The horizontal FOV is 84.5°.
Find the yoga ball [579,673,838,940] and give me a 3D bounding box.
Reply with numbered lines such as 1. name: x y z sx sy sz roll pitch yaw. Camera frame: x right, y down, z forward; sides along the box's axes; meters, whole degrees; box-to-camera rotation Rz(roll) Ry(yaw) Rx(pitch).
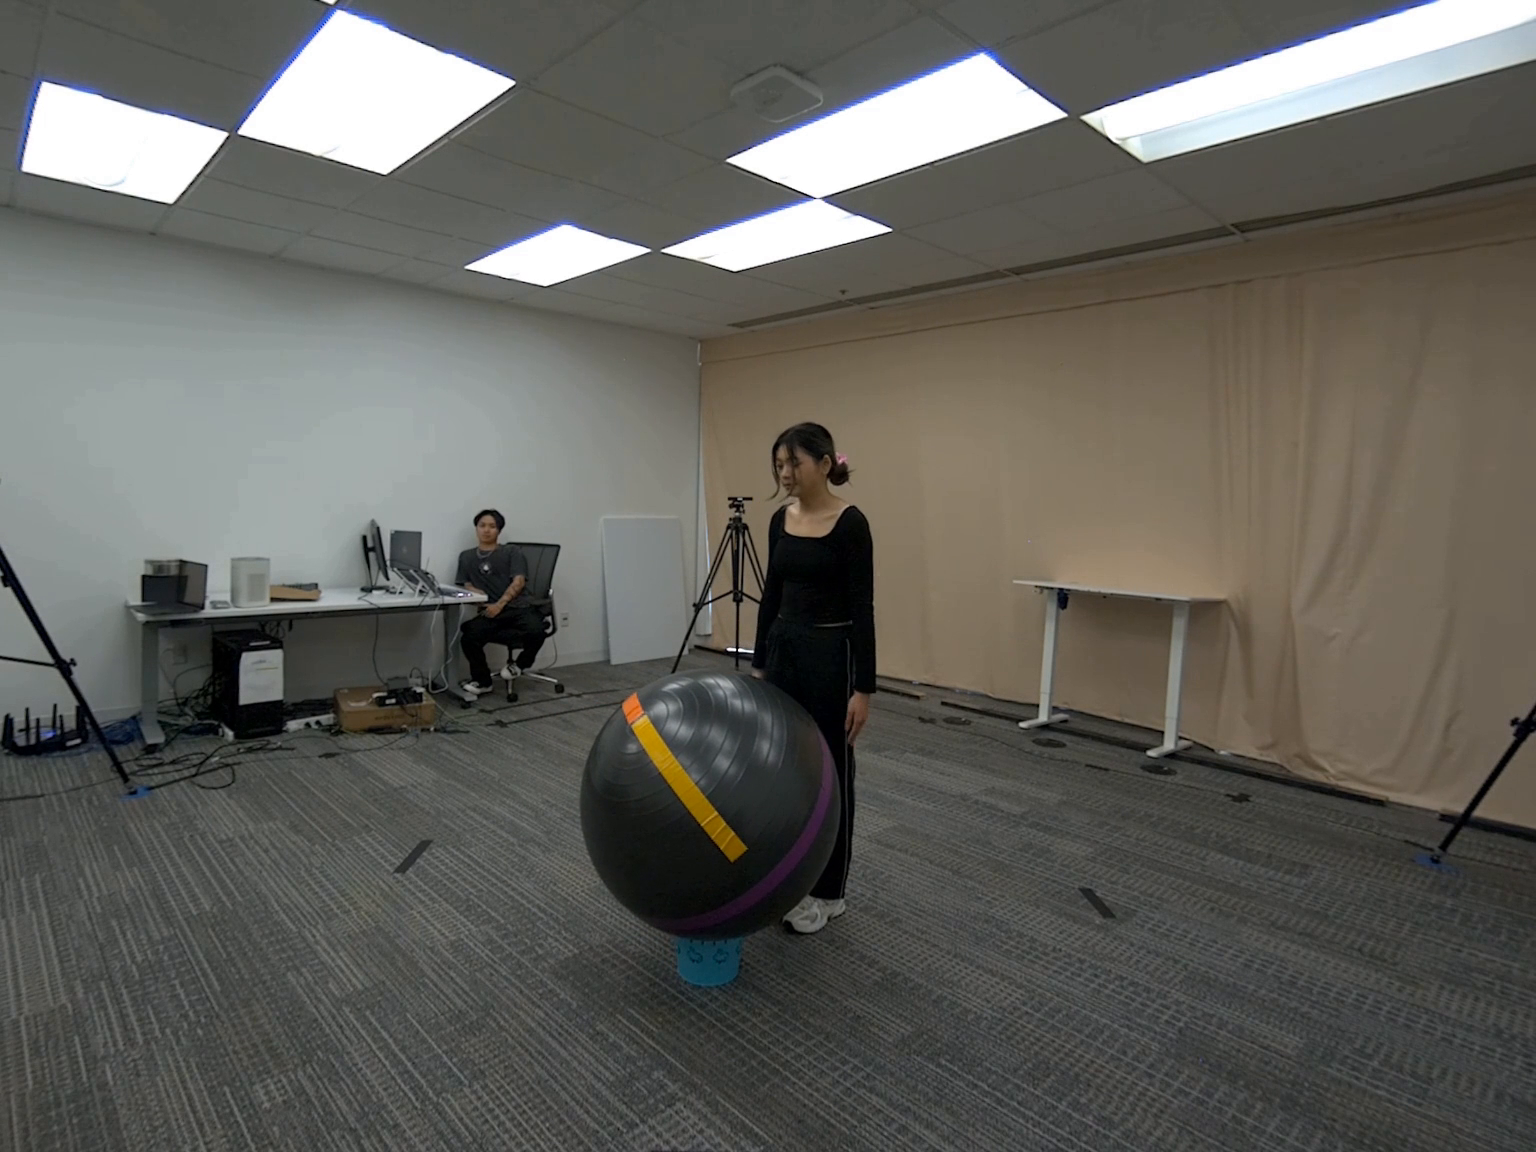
1. yoga ball: -0.176 0.660 2.455 0.757 0.756 0.761 1 4 -1
